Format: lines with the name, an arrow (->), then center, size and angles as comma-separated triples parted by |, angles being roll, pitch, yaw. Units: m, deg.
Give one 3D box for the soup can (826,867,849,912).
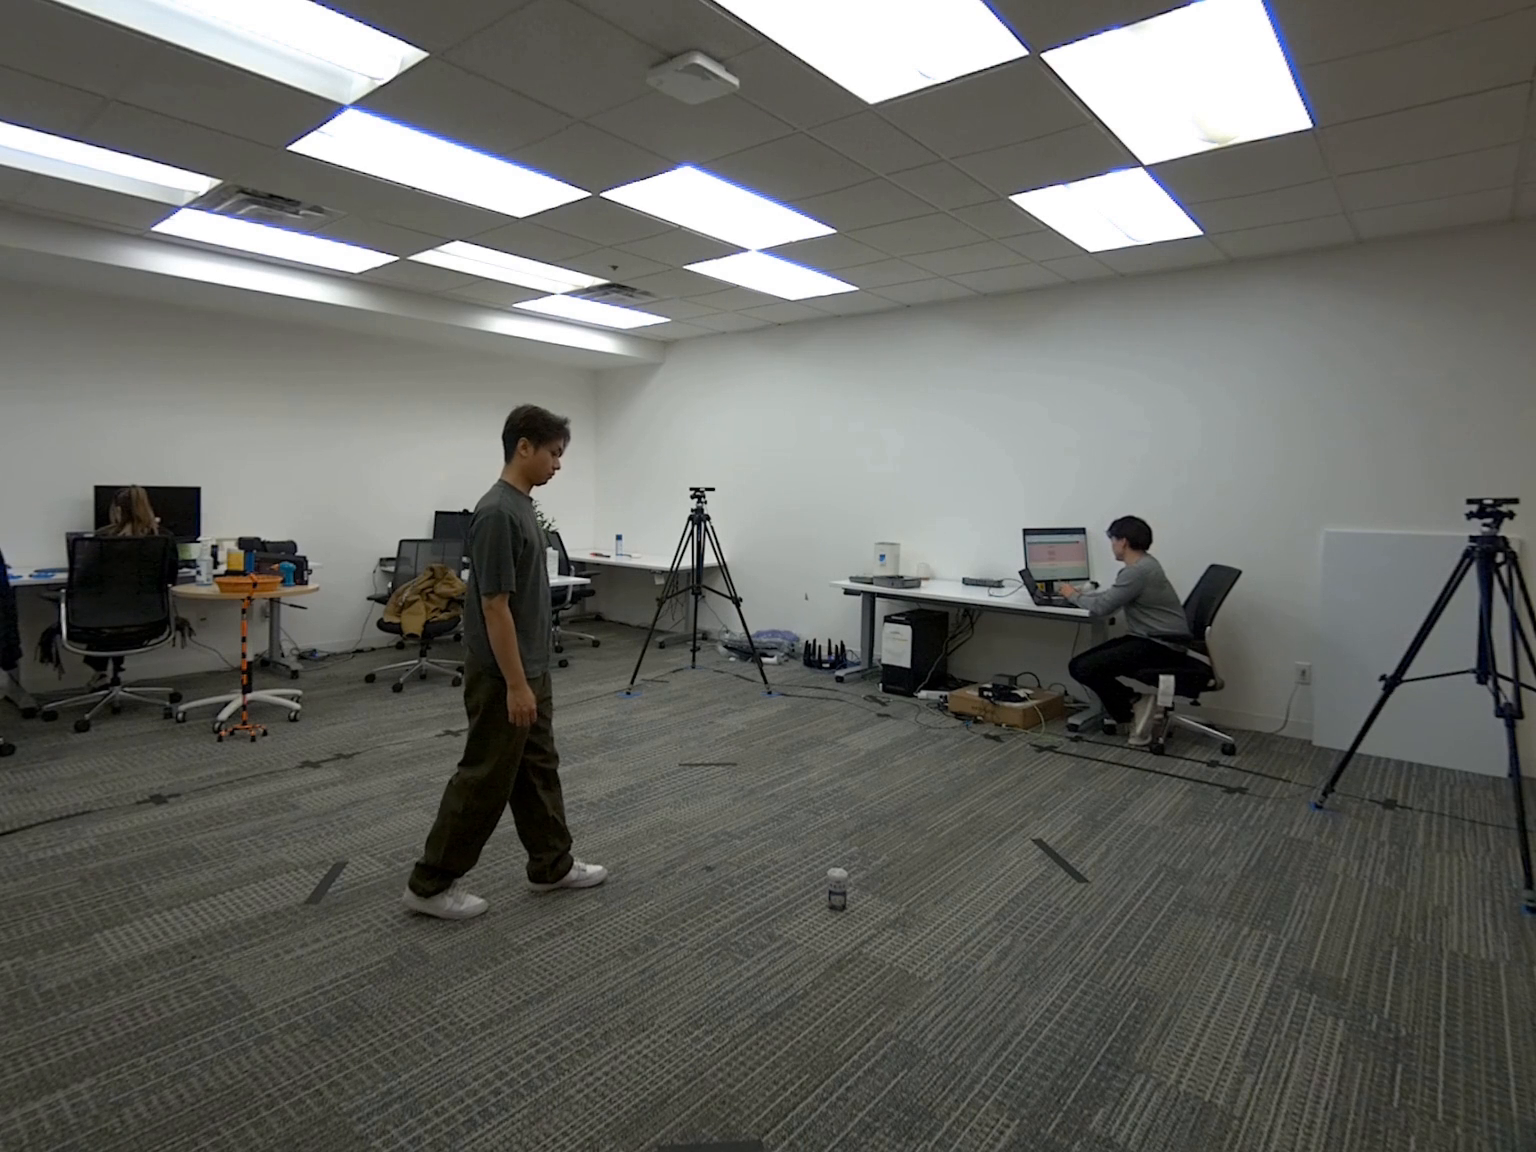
soup can -> 0.225, 1.049, 2.834 | 0.067, 0.121, 0.067 | 2, 4, -2
